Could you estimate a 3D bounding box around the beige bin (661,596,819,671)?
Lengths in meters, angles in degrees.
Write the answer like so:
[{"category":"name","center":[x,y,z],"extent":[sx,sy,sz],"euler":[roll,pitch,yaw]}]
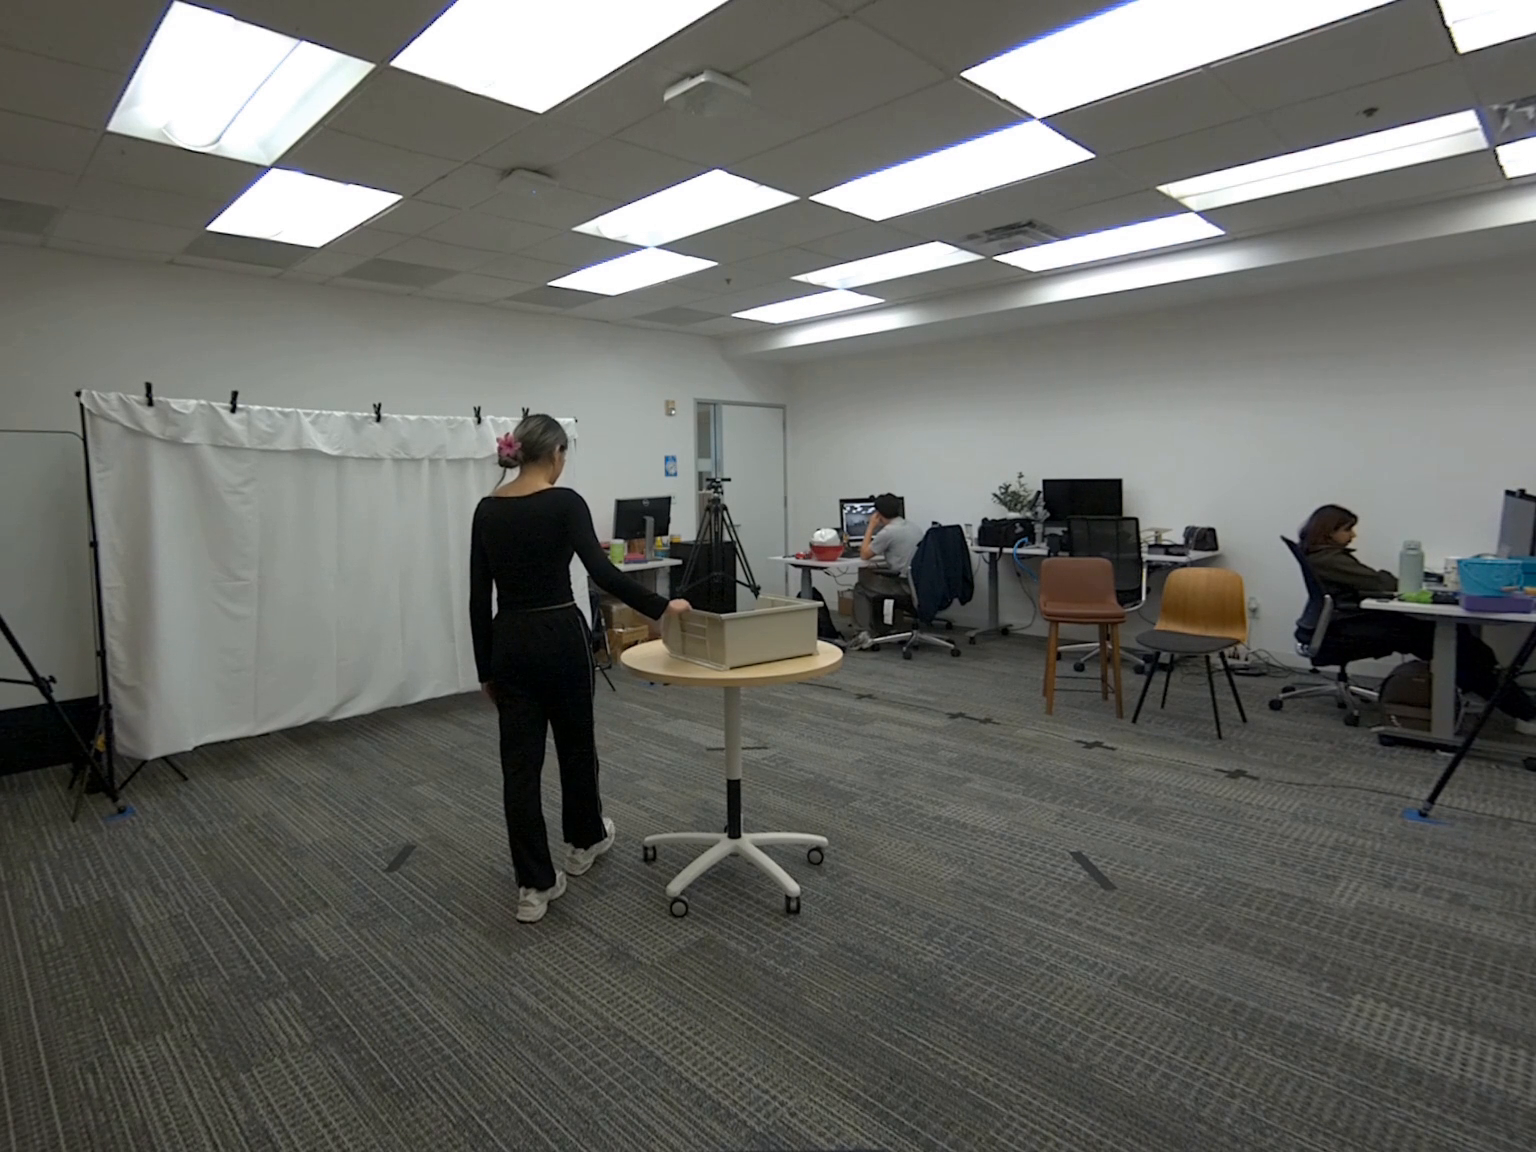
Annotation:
[{"category":"beige bin","center":[-0.098,0.181,2.921],"extent":[0.411,0.188,0.389],"euler":[-4,7,-37]}]
